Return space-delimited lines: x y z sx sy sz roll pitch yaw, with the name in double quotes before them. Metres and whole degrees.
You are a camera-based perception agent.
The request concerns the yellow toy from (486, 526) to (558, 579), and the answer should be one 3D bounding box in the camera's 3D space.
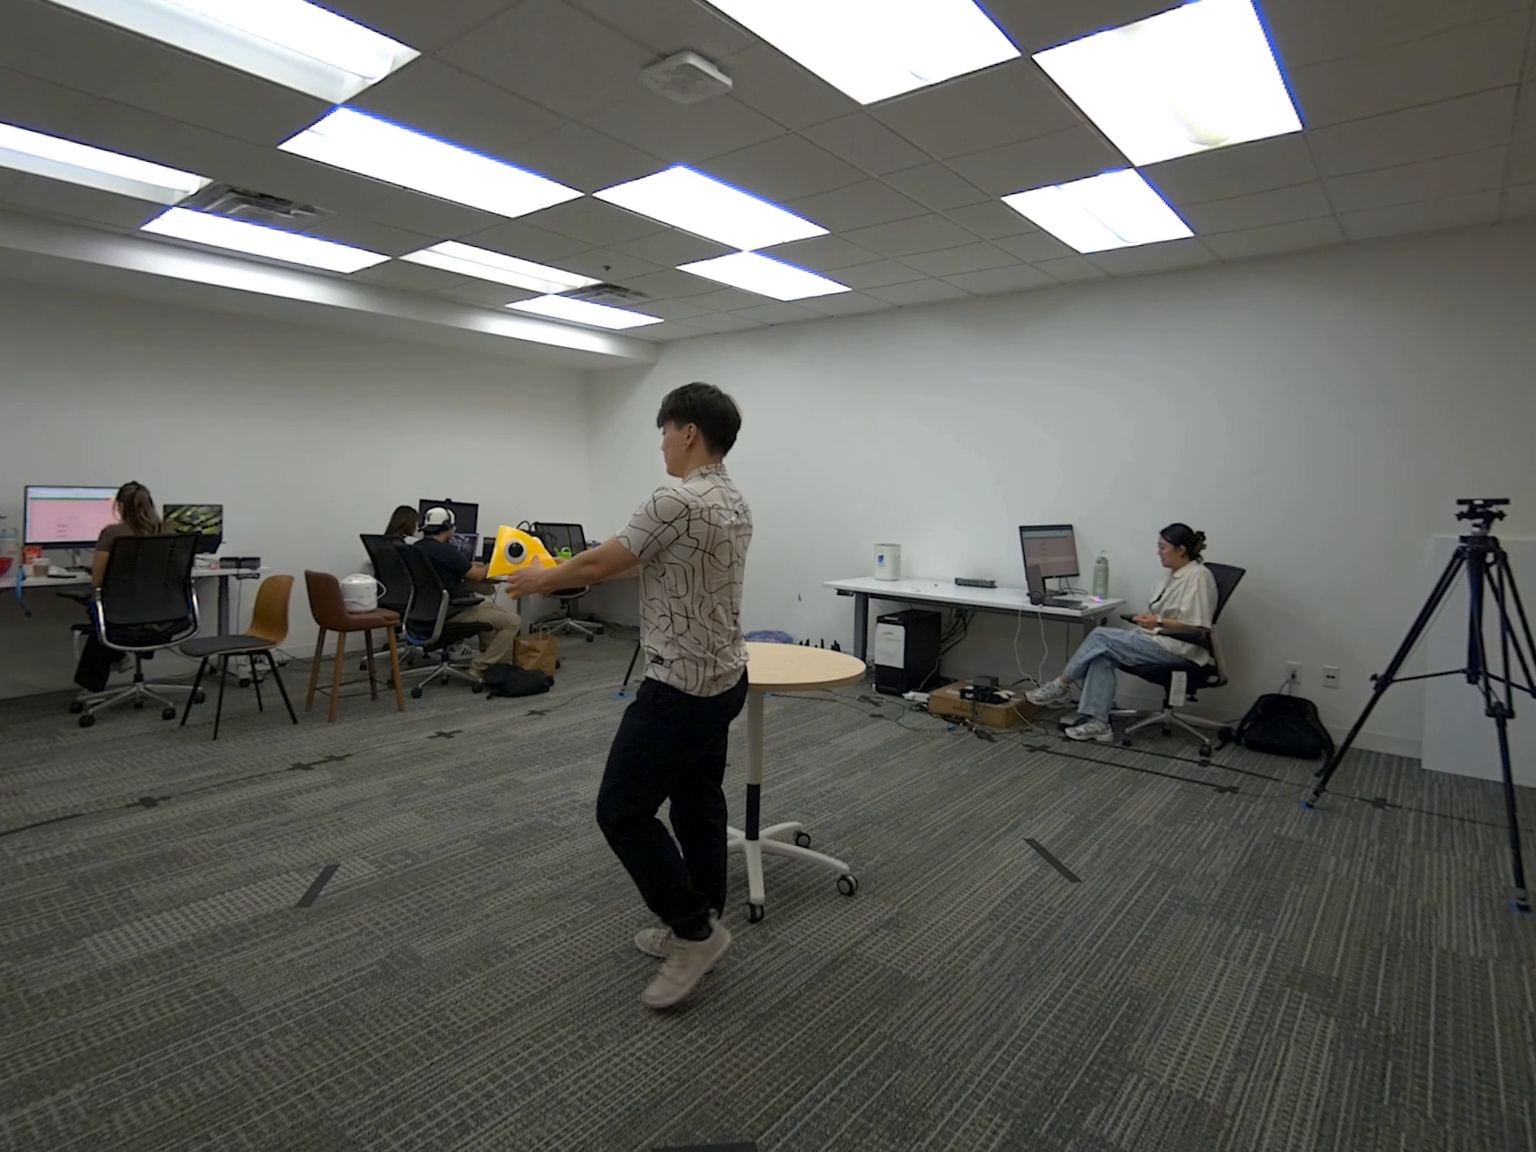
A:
"yellow toy" -0.759 -0.068 2.618 0.195 0.232 0.201 -20 -3 20
